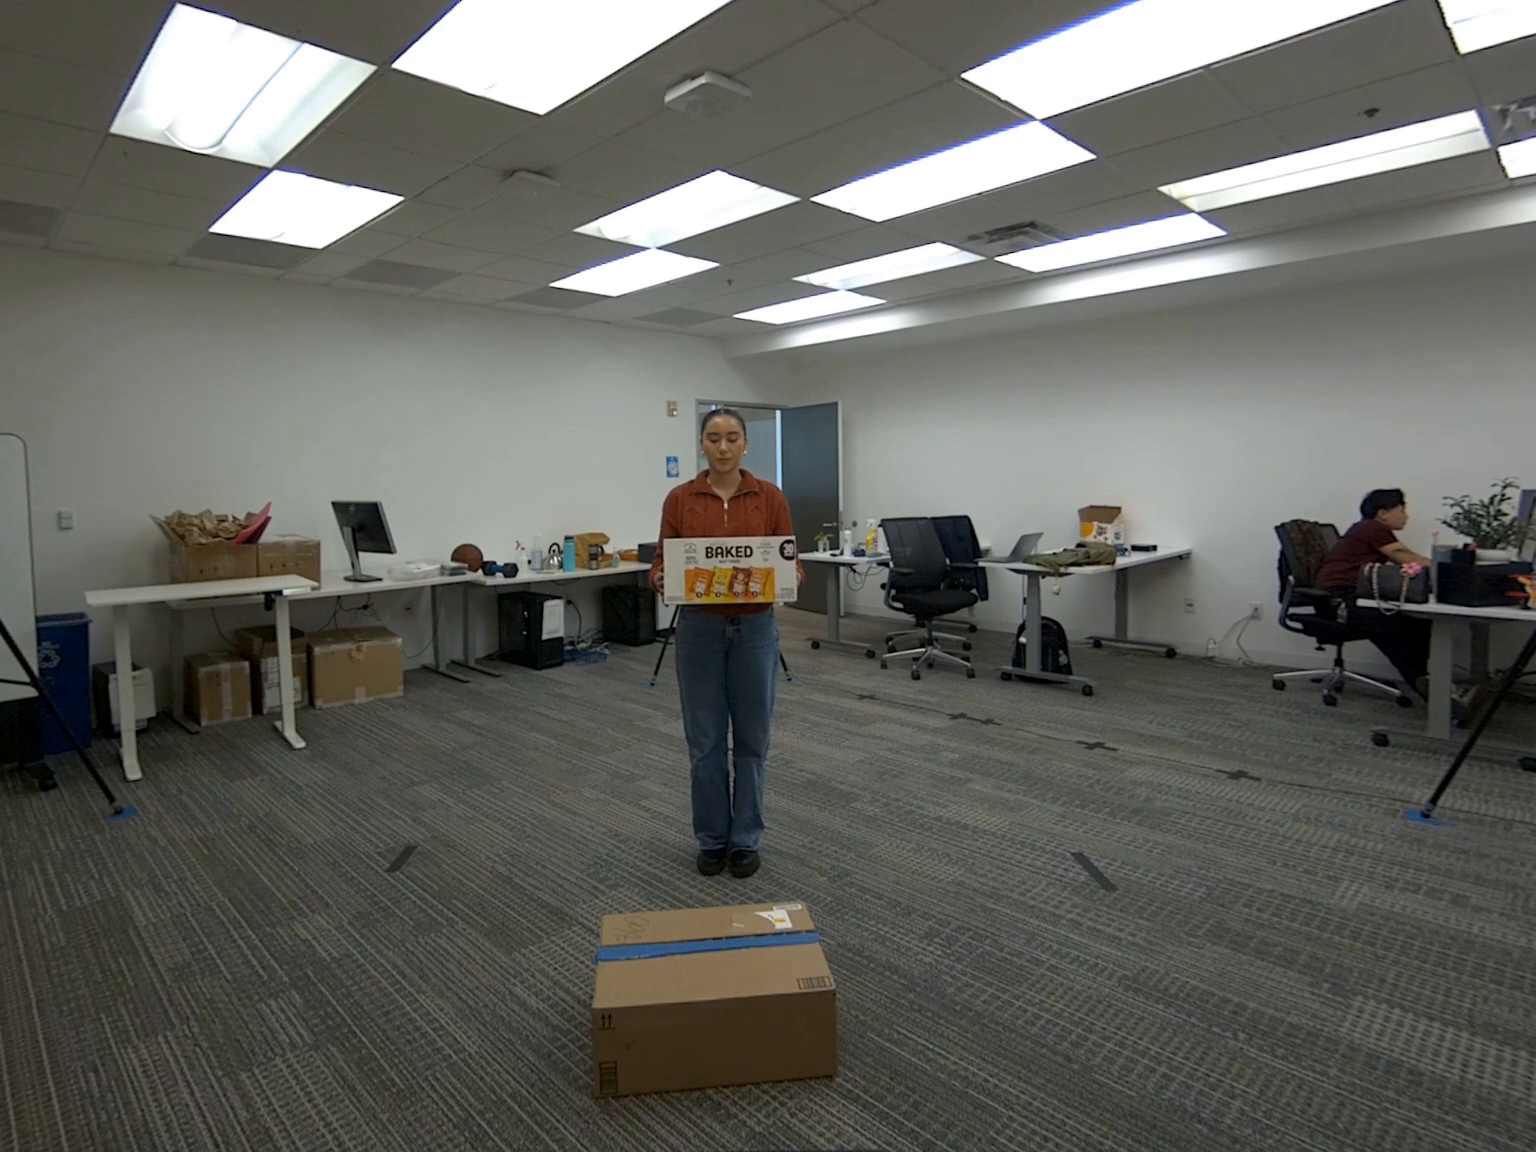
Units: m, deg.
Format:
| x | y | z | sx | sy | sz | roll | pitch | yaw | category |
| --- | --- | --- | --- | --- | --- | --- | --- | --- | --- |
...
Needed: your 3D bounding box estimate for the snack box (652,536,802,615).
| x | y | z | sx | sy | sz | roll | pitch | yaw | category |
| --- | --- | --- | --- | --- | --- | --- | --- | --- | --- |
| -0.136 | -0.010 | 2.780 | 0.404 | 0.206 | 0.340 | -1 | -2 | -3 | snack box |
